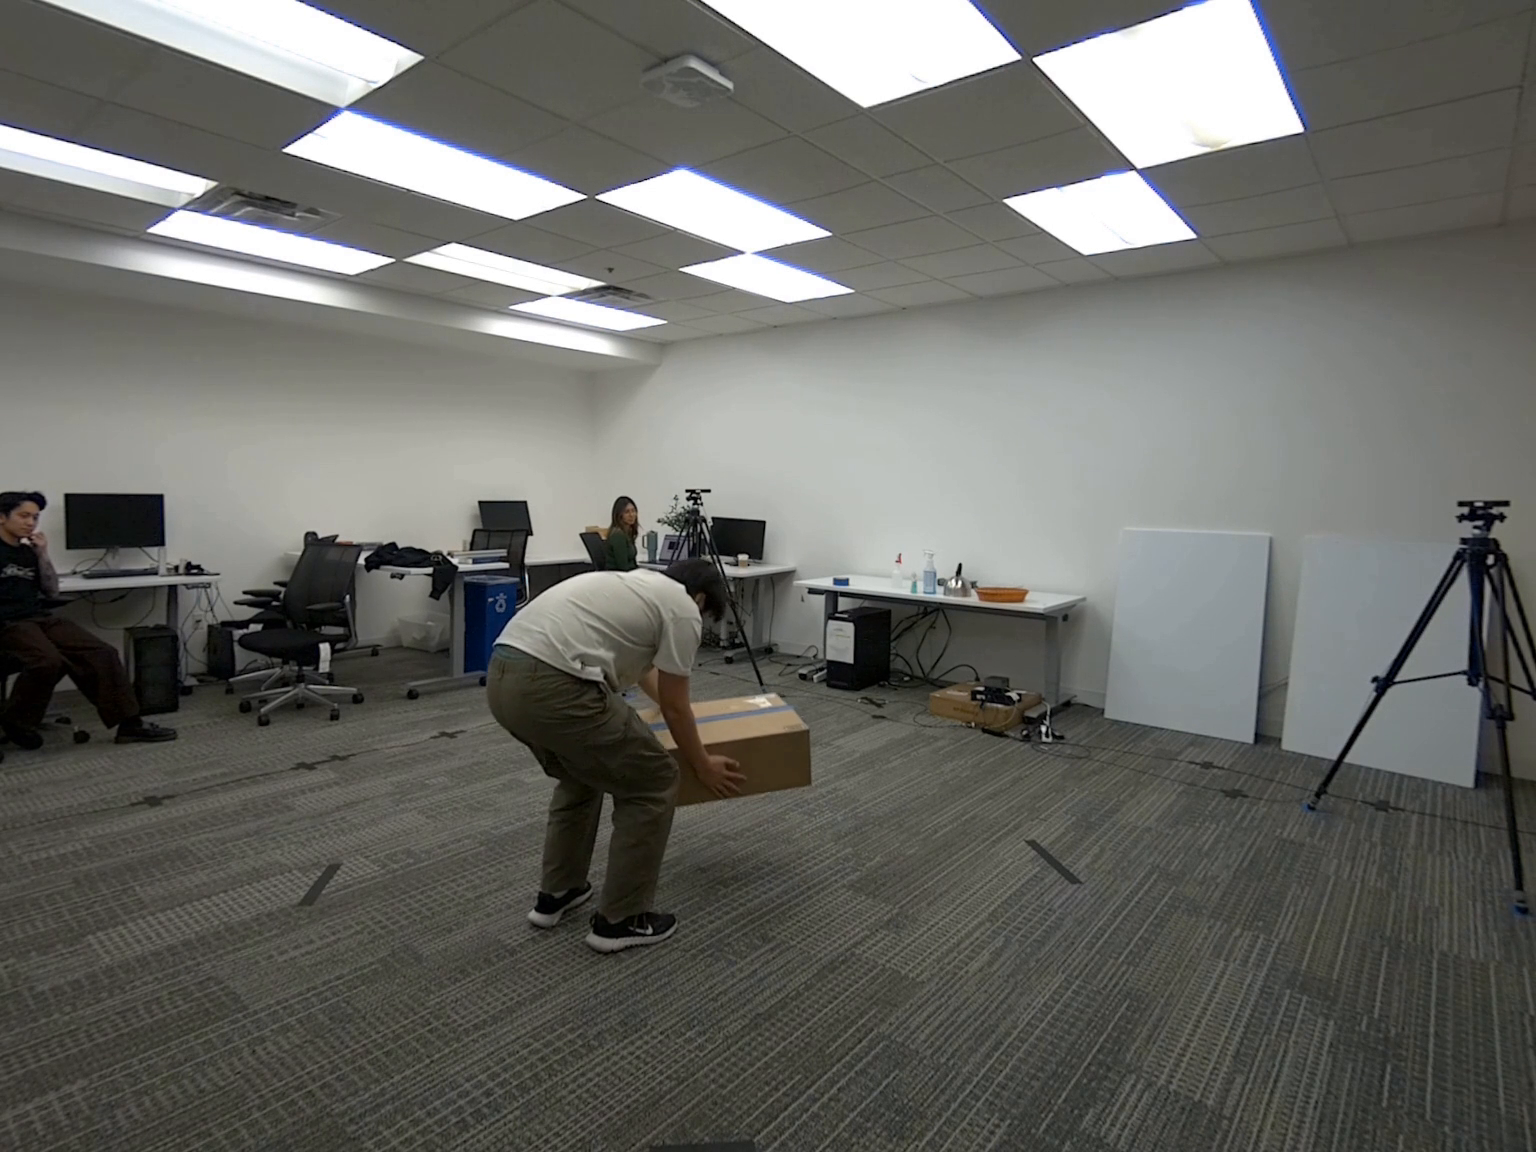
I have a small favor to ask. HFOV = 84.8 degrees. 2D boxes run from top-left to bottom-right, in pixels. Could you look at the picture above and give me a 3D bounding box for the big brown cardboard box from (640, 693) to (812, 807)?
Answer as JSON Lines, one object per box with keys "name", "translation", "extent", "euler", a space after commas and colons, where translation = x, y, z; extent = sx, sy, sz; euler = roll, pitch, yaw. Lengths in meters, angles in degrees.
{"name": "big brown cardboard box", "translation": [-0.180, 0.622, 3.126], "extent": [0.581, 0.231, 0.428], "euler": [-7, 11, -15]}
